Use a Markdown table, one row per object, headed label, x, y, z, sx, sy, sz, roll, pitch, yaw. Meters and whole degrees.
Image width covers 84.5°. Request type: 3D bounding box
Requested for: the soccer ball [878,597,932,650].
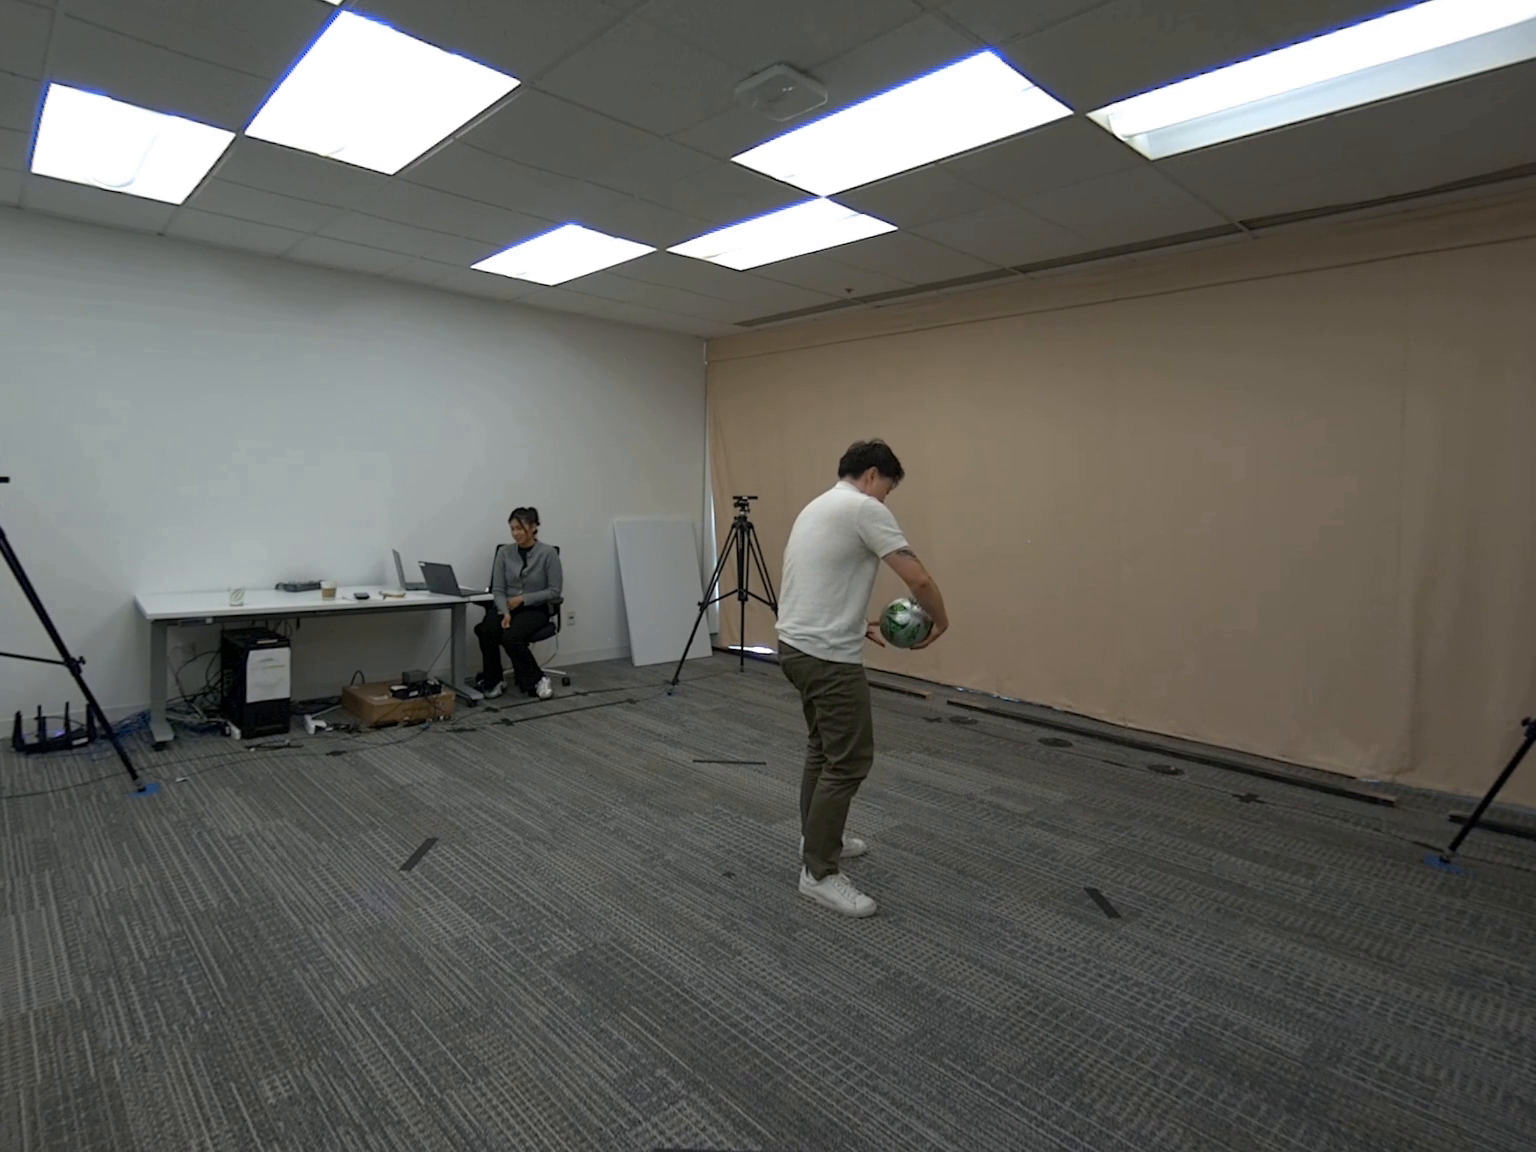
| label | x | y | z | sx | sy | sz | roll | pitch | yaw |
| --- | --- | --- | --- | --- | --- | --- | --- | --- | --- |
| soccer ball | 0.481 | 0.167 | 3.053 | 0.187 | 0.187 | 0.188 | 1 | 4 | -1 |
